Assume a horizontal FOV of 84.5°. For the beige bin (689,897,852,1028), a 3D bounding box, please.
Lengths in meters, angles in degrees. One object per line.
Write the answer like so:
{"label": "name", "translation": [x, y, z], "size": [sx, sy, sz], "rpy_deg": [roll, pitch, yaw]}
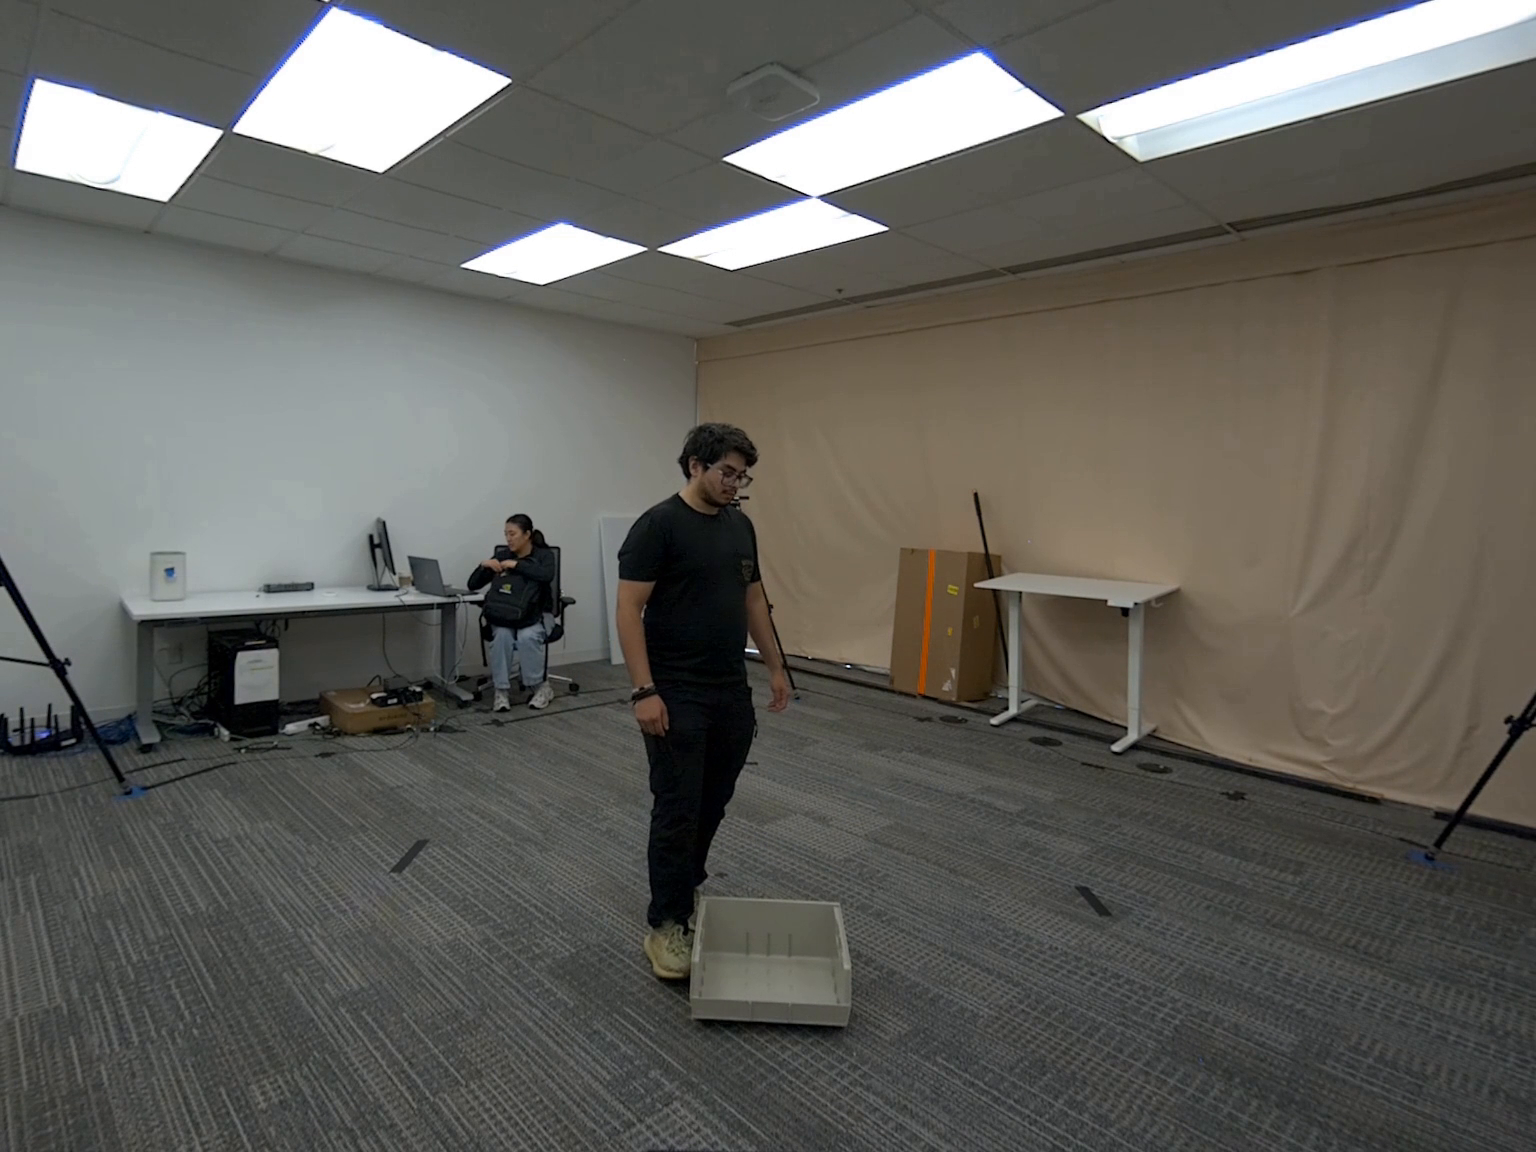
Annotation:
{"label": "beige bin", "translation": [0.005, 1.101, 2.342], "size": [0.423, 0.188, 0.378], "rpy_deg": [1, 4, 1]}
